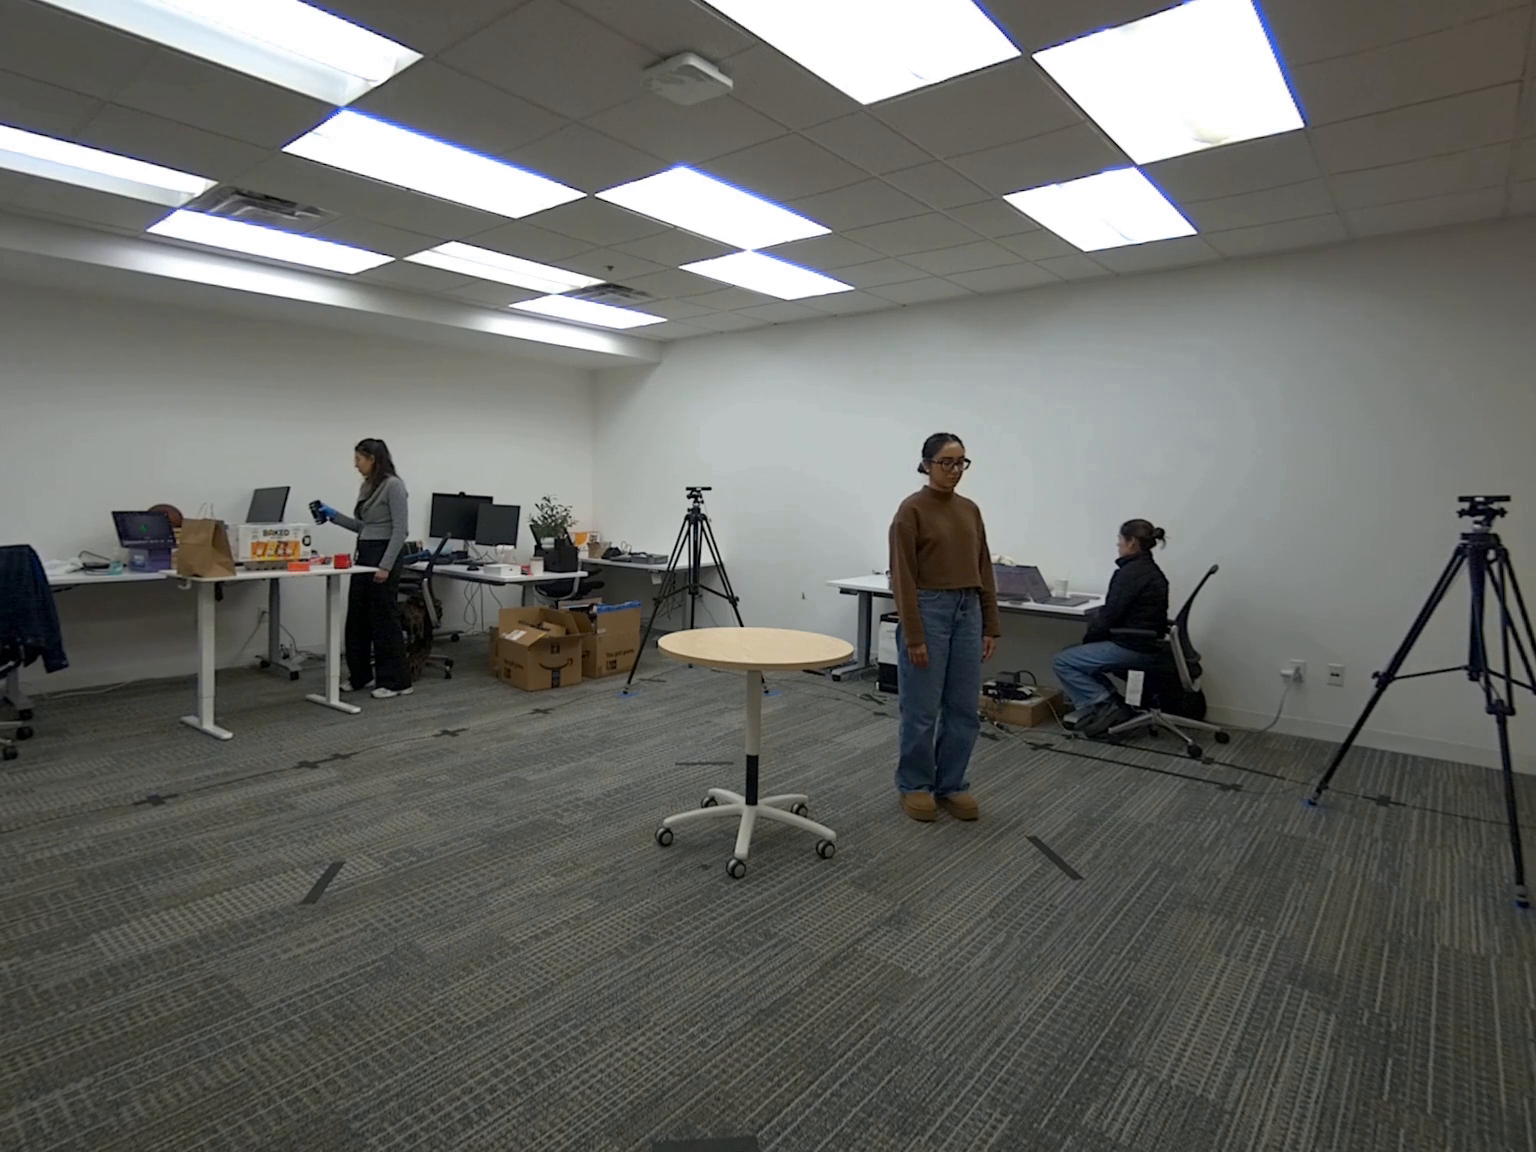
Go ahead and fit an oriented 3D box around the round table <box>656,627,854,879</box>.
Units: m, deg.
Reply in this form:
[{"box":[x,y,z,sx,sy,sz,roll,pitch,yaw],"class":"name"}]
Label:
[{"box":[-0.071,0.657,3.368,0.763,0.792,0.767,1,4,-2],"class":"round table"}]
